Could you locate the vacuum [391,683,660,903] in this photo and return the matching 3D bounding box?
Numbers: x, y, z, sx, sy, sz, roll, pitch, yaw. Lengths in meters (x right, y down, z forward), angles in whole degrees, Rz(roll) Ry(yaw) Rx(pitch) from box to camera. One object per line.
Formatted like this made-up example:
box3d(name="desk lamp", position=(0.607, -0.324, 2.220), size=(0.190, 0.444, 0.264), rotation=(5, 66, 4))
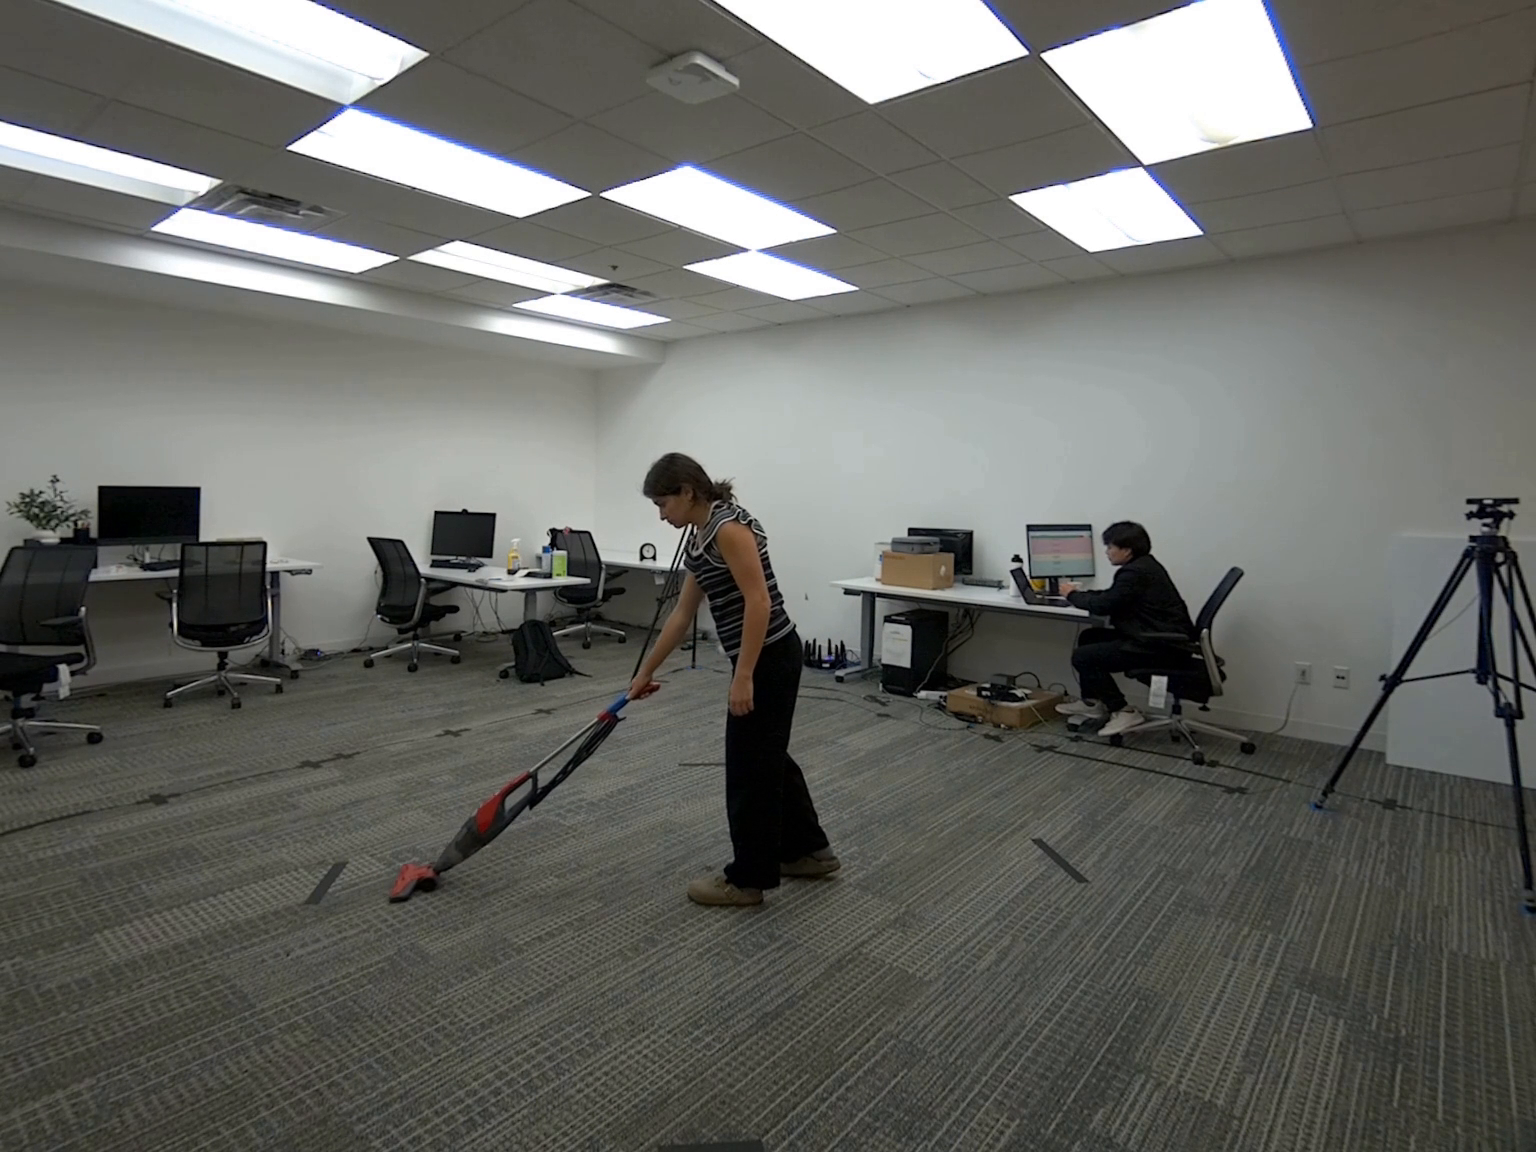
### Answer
box3d(name="vacuum", position=(-0.812, 0.724, 3.000), size=(1.048, 0.141, 0.257), rotation=(-38, 14, -6))
